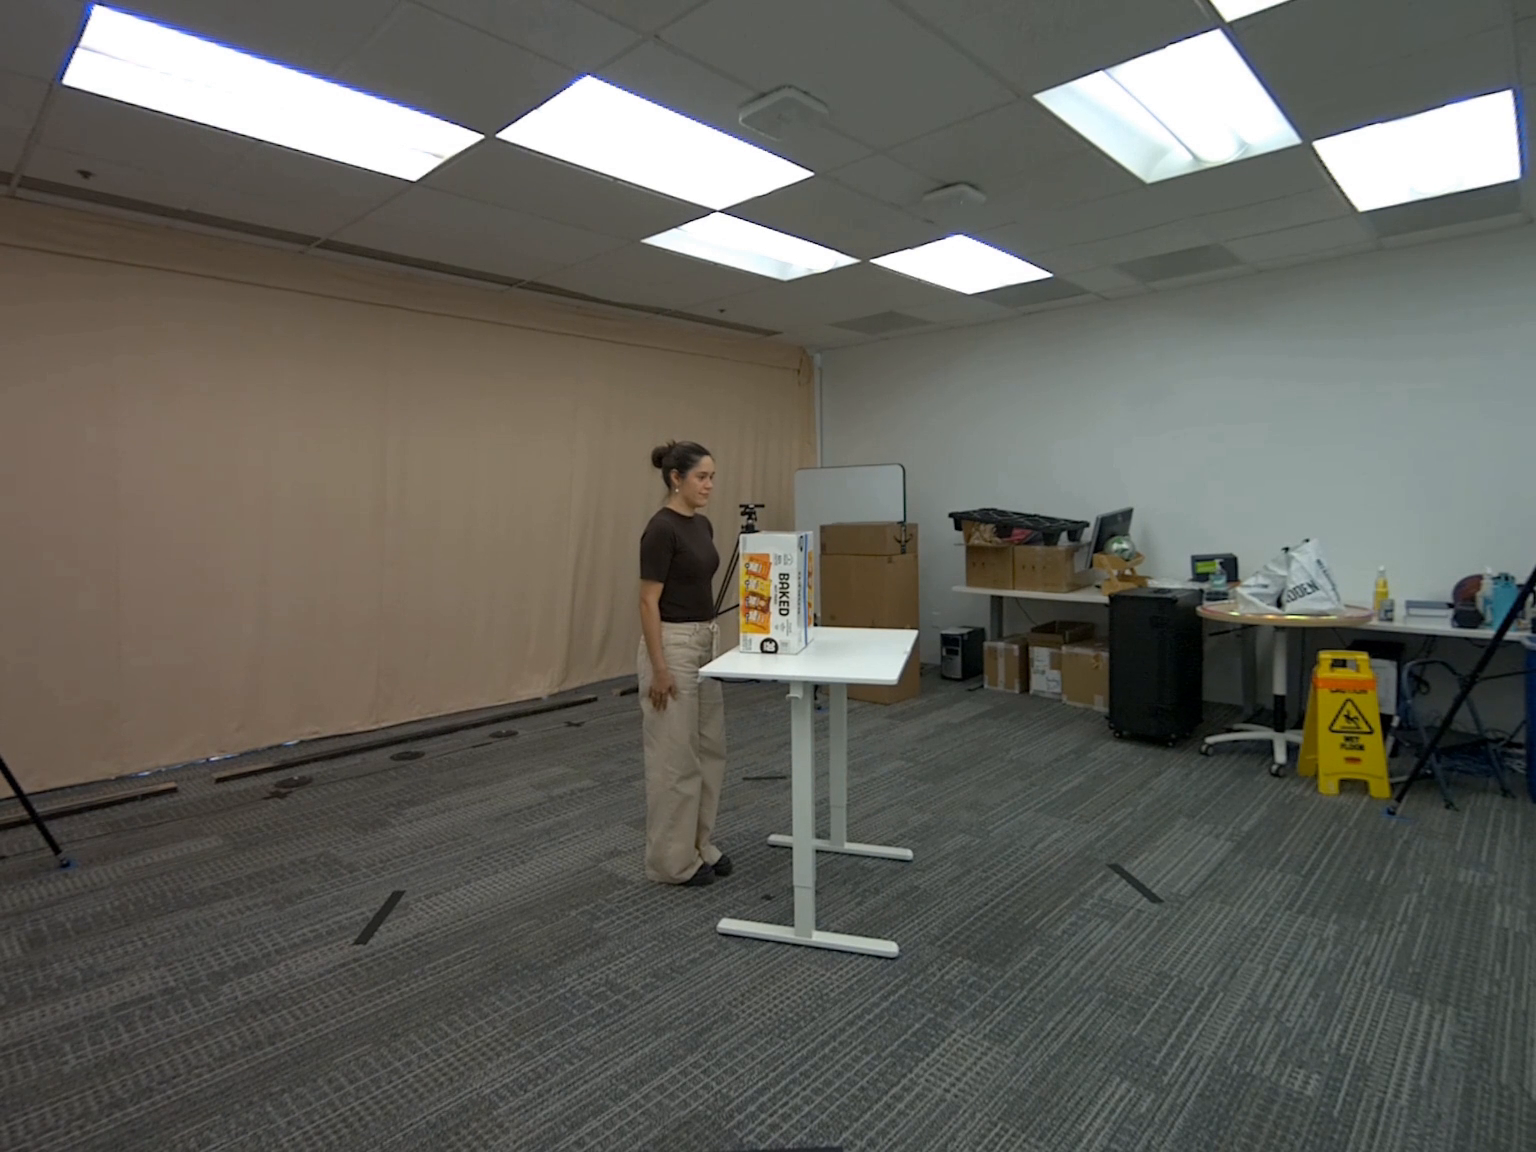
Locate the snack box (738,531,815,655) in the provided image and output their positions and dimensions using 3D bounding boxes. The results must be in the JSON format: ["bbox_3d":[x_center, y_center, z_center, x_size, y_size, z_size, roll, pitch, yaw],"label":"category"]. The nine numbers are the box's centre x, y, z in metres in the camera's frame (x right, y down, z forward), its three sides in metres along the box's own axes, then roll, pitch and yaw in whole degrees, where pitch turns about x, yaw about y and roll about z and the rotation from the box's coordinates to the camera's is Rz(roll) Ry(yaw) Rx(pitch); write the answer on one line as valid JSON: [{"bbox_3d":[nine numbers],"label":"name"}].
[{"bbox_3d":[0.036,0.049,3.013,0.209,0.404,0.335,0,3,14],"label":"snack box"}]
